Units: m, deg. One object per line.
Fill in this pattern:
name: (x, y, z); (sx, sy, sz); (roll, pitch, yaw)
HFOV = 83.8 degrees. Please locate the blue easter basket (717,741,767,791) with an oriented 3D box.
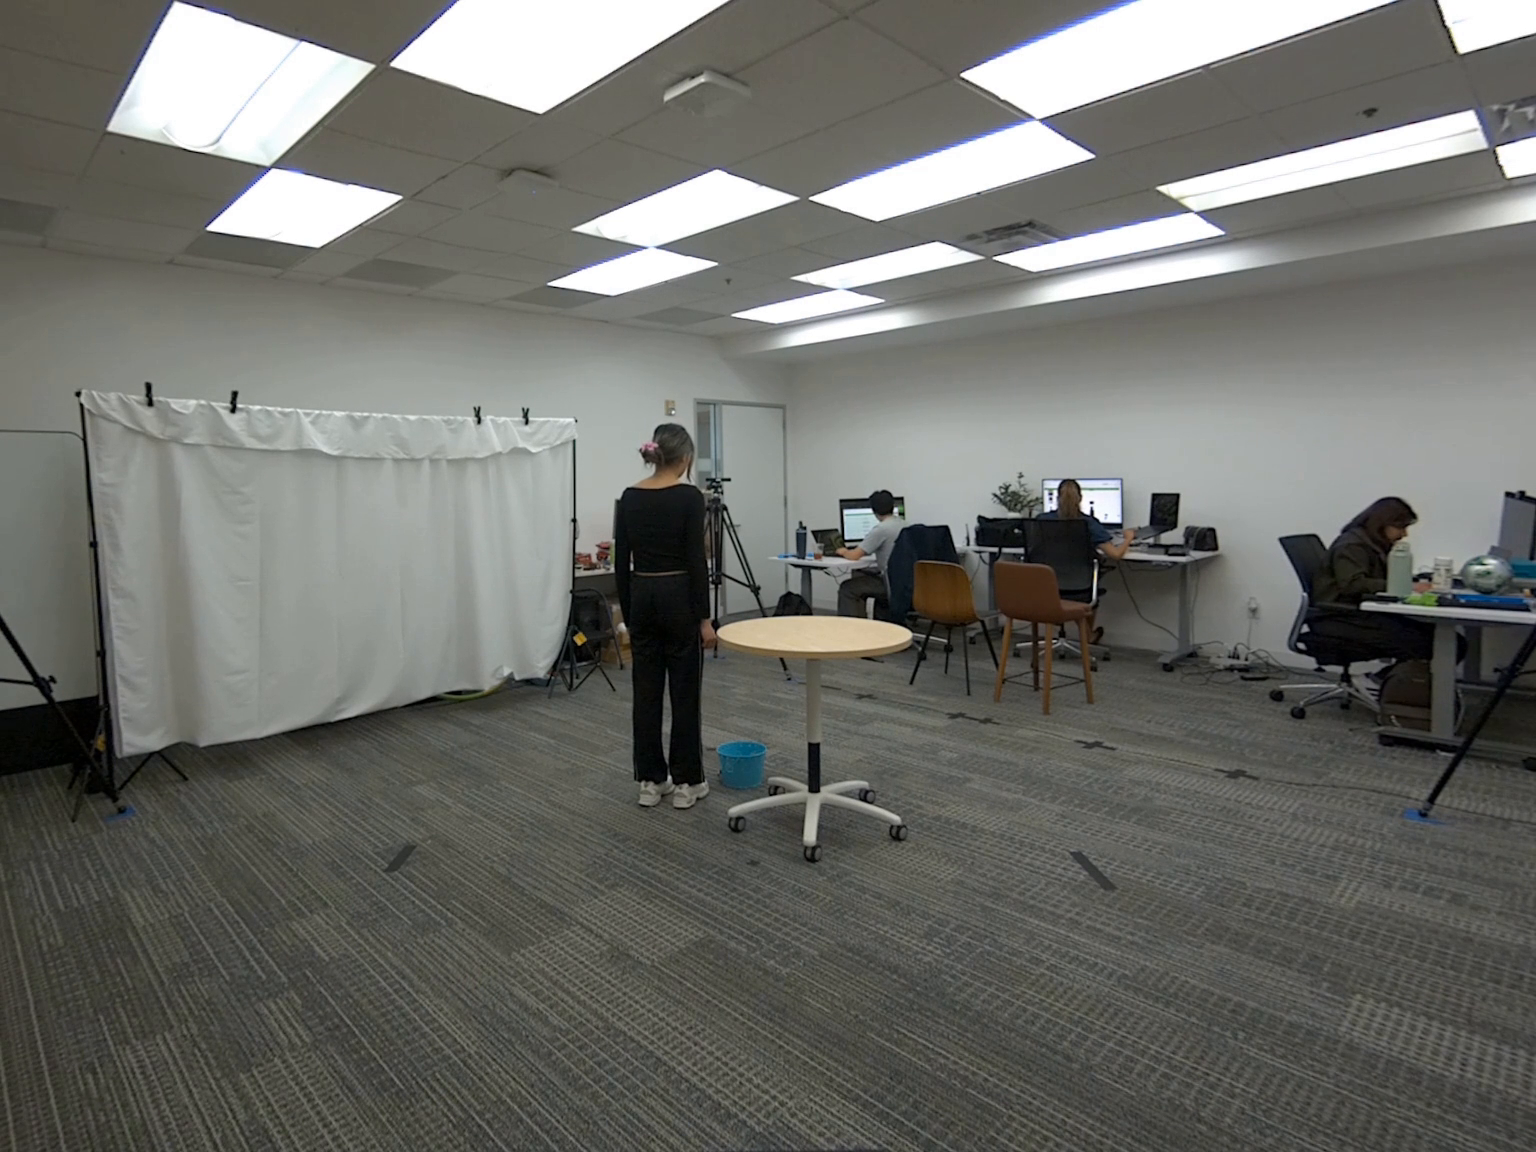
blue easter basket: (-0.120, 0.870, 3.951); (0.243, 0.155, 0.245); (-1, 5, -2)
